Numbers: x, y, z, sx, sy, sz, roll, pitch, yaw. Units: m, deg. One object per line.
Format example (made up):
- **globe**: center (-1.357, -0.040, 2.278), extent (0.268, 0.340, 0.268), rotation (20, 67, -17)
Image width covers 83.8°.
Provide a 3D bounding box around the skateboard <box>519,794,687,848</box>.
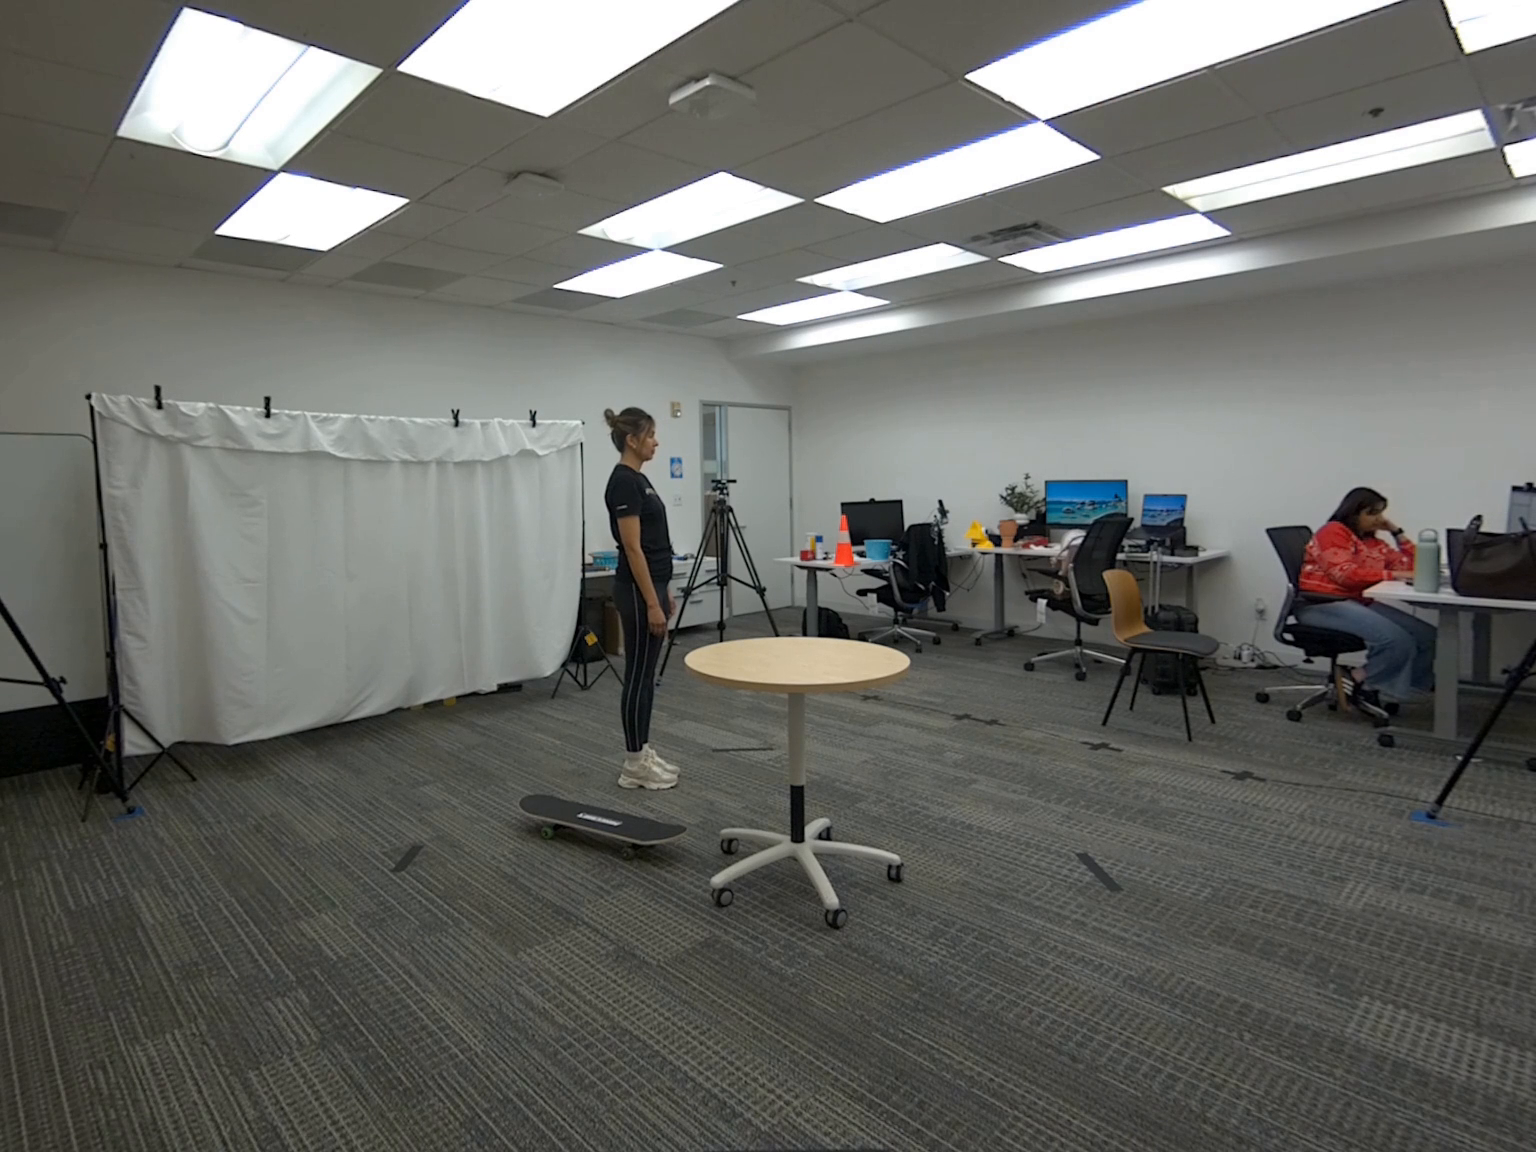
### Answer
- **skateboard**: center (-0.653, 0.982, 3.328), extent (0.806, 0.110, 0.189), rotation (2, 6, 30)
